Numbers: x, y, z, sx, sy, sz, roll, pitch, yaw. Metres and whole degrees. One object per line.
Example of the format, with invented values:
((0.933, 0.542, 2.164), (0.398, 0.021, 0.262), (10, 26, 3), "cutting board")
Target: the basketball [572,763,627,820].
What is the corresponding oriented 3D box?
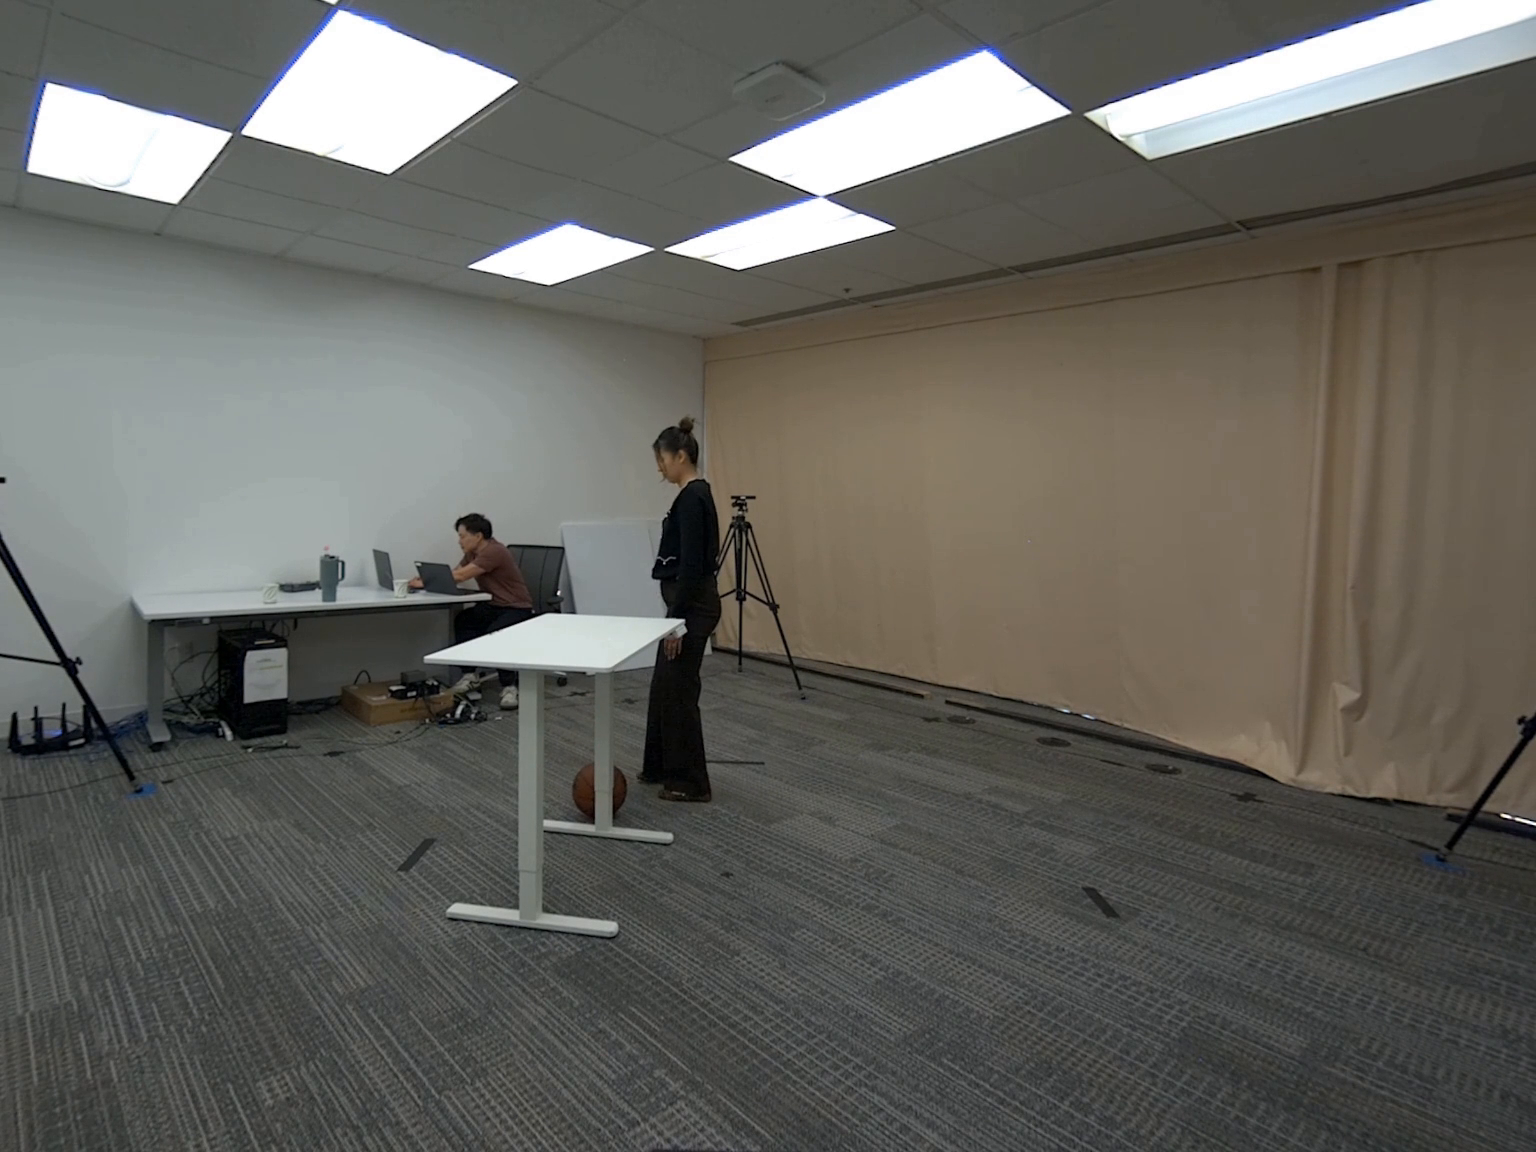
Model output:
((-0.737, 0.925, 3.643), (0.236, 0.235, 0.237), (1, 4, -1), "basketball")
